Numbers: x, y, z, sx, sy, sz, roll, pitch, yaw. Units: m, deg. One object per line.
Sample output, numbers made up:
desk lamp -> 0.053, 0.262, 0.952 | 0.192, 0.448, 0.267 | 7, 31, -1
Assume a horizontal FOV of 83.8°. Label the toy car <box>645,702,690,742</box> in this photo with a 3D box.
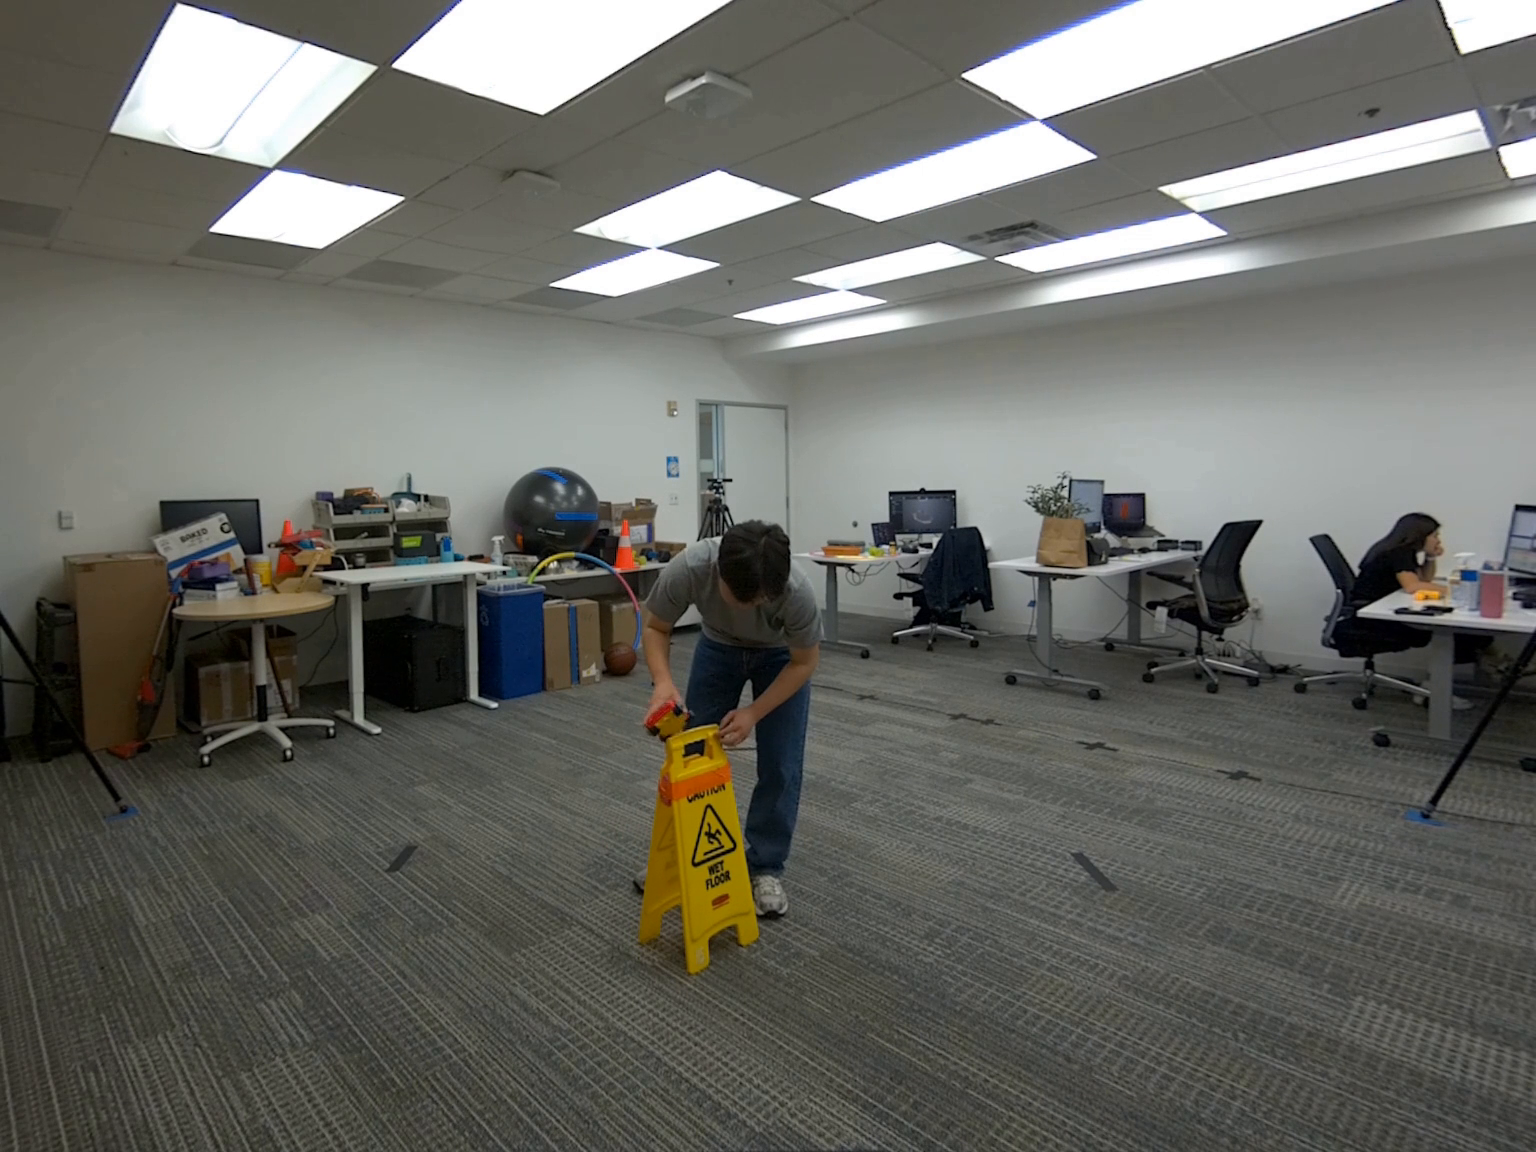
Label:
toy car -> -0.283, 0.444, 2.545 | 0.130, 0.084, 0.251 | -43, -7, -7
